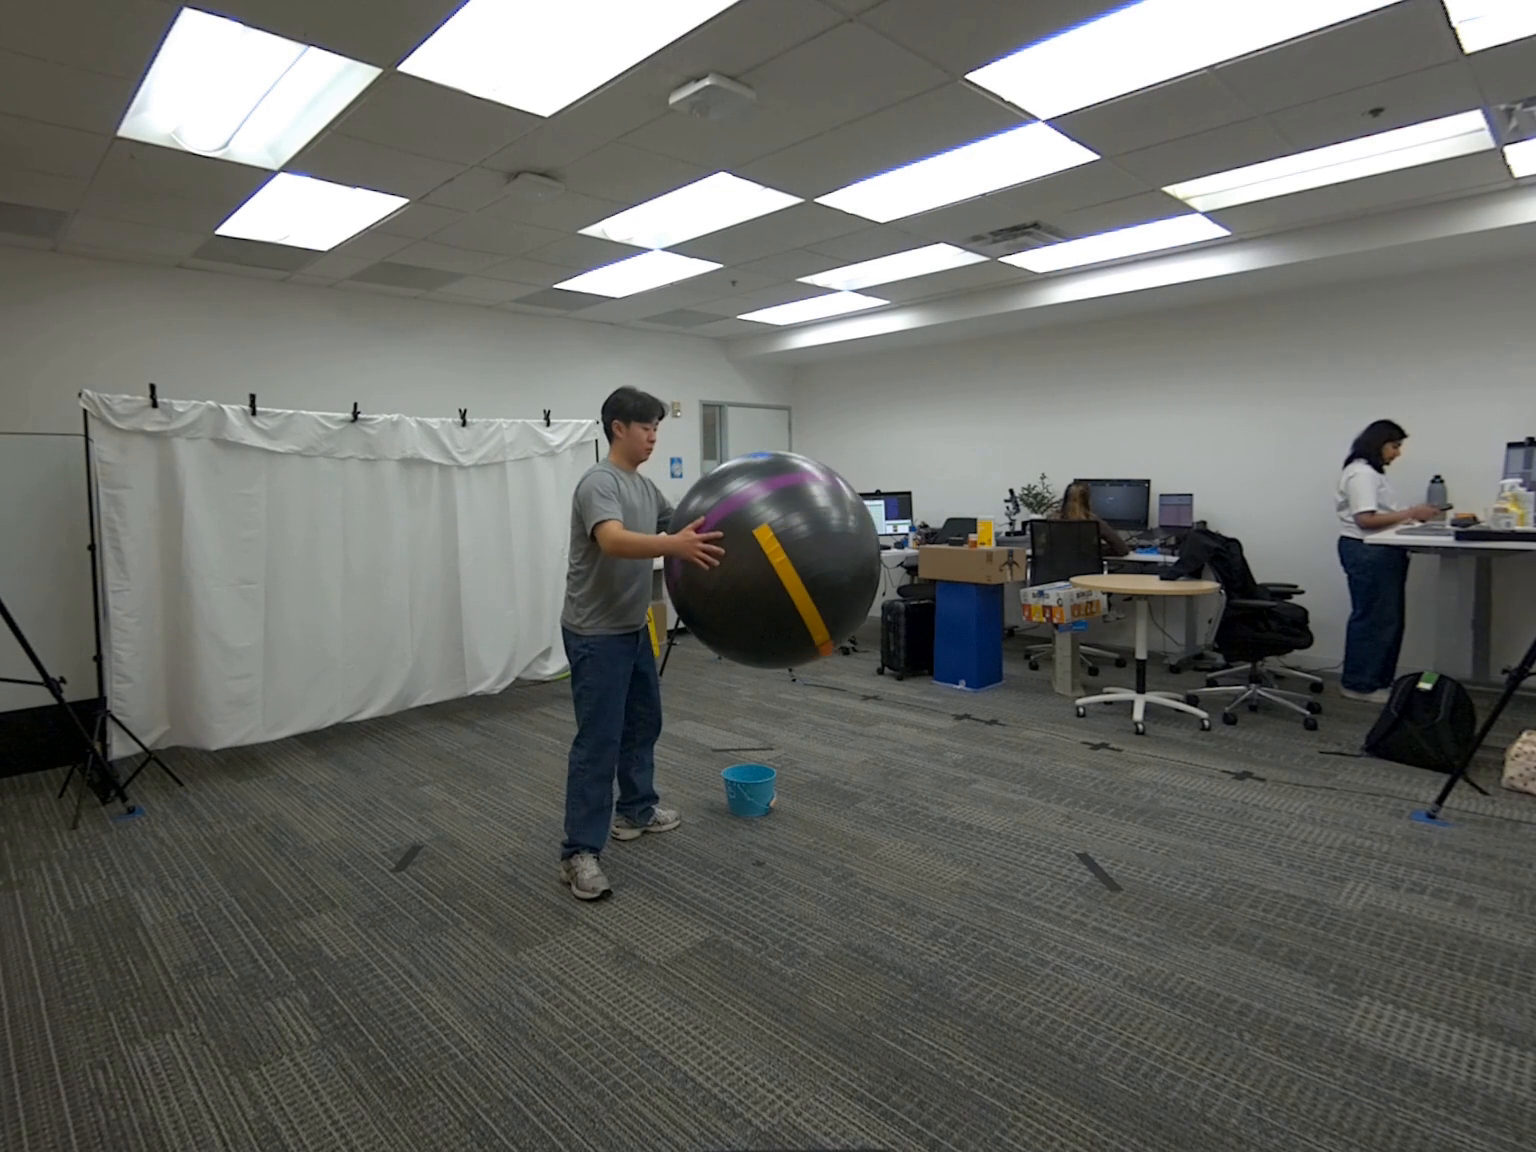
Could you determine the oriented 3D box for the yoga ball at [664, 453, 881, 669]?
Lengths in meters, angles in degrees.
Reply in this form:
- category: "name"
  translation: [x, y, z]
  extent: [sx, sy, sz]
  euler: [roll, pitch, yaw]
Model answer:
- category: "yoga ball"
  translation: [0.003, -0.054, 2.991]
  extent: [0.757, 0.755, 0.762]
  euler: [-1, 5, -2]
